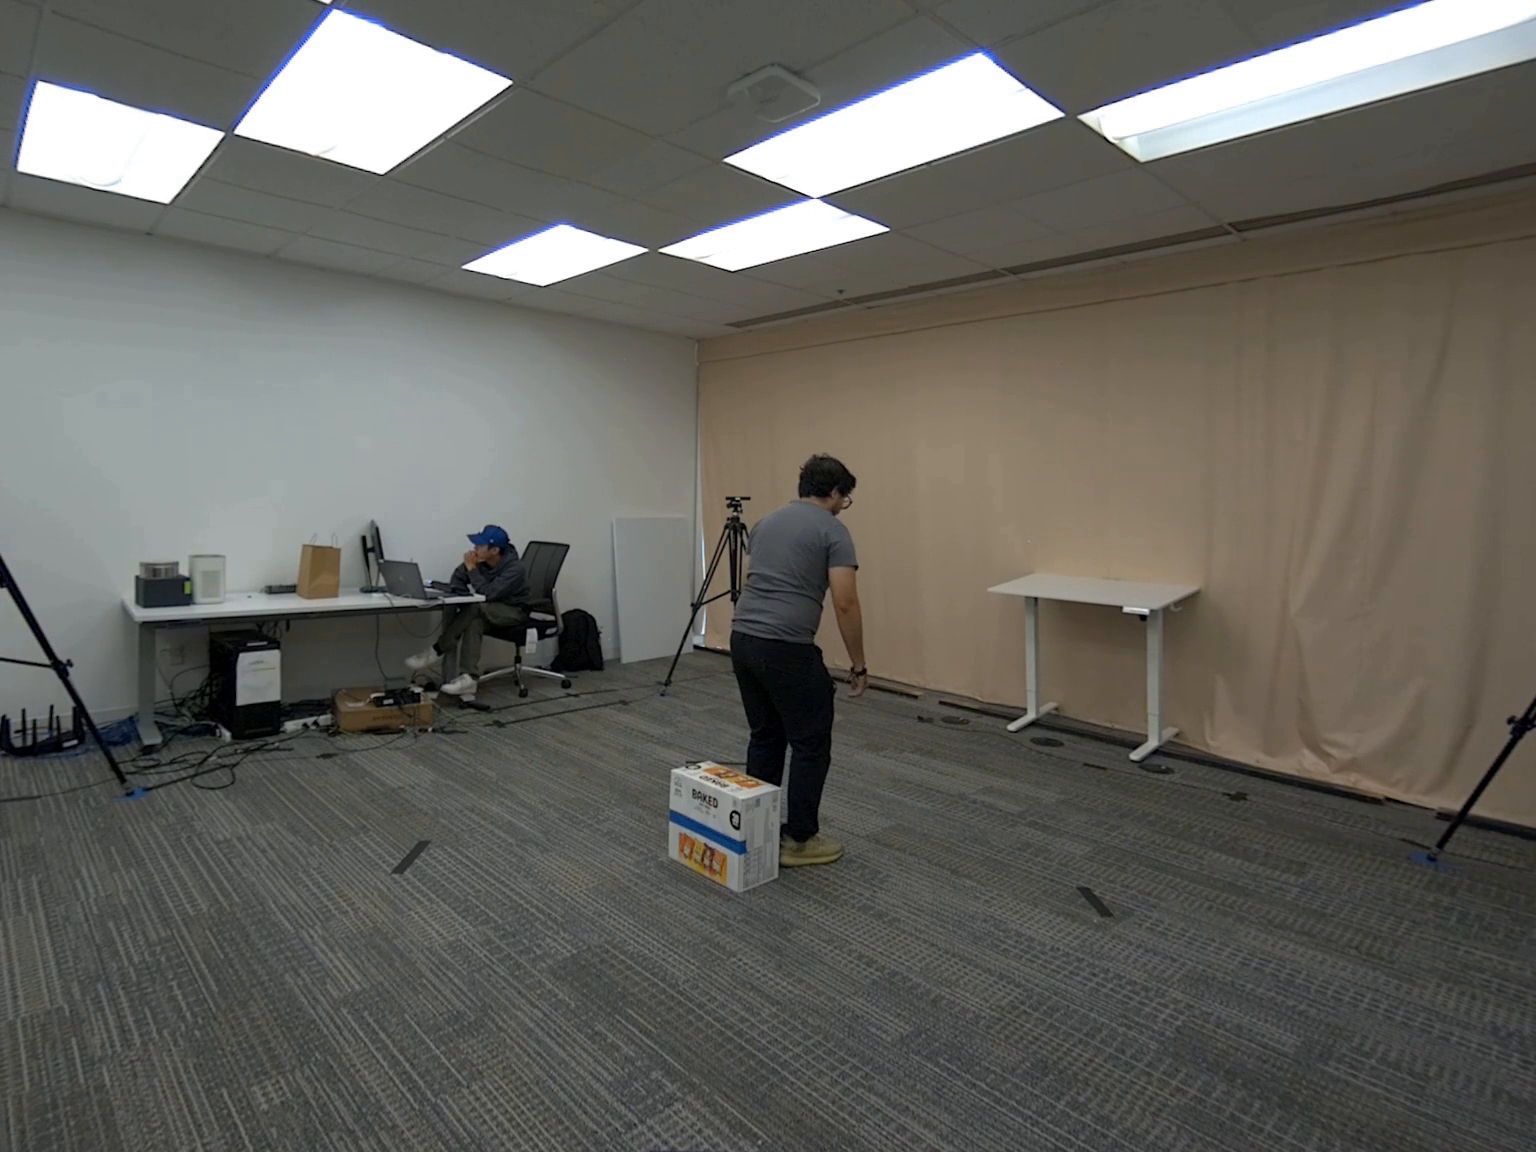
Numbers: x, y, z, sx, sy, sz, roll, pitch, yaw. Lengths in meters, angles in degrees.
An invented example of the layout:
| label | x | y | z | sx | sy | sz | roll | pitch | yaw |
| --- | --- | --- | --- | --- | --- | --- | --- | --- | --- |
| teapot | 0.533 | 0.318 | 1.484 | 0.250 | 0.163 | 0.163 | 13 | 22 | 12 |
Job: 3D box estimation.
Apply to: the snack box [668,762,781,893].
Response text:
| label | x | y | z | sx | sy | sz | roll | pitch | yaw |
| --- | --- | --- | --- | --- | --- | --- | --- | --- | --- |
| snack box | -0.174 | 0.931 | 3.166 | 0.201 | 0.339 | 0.416 | -1 | 5 | -44 |
